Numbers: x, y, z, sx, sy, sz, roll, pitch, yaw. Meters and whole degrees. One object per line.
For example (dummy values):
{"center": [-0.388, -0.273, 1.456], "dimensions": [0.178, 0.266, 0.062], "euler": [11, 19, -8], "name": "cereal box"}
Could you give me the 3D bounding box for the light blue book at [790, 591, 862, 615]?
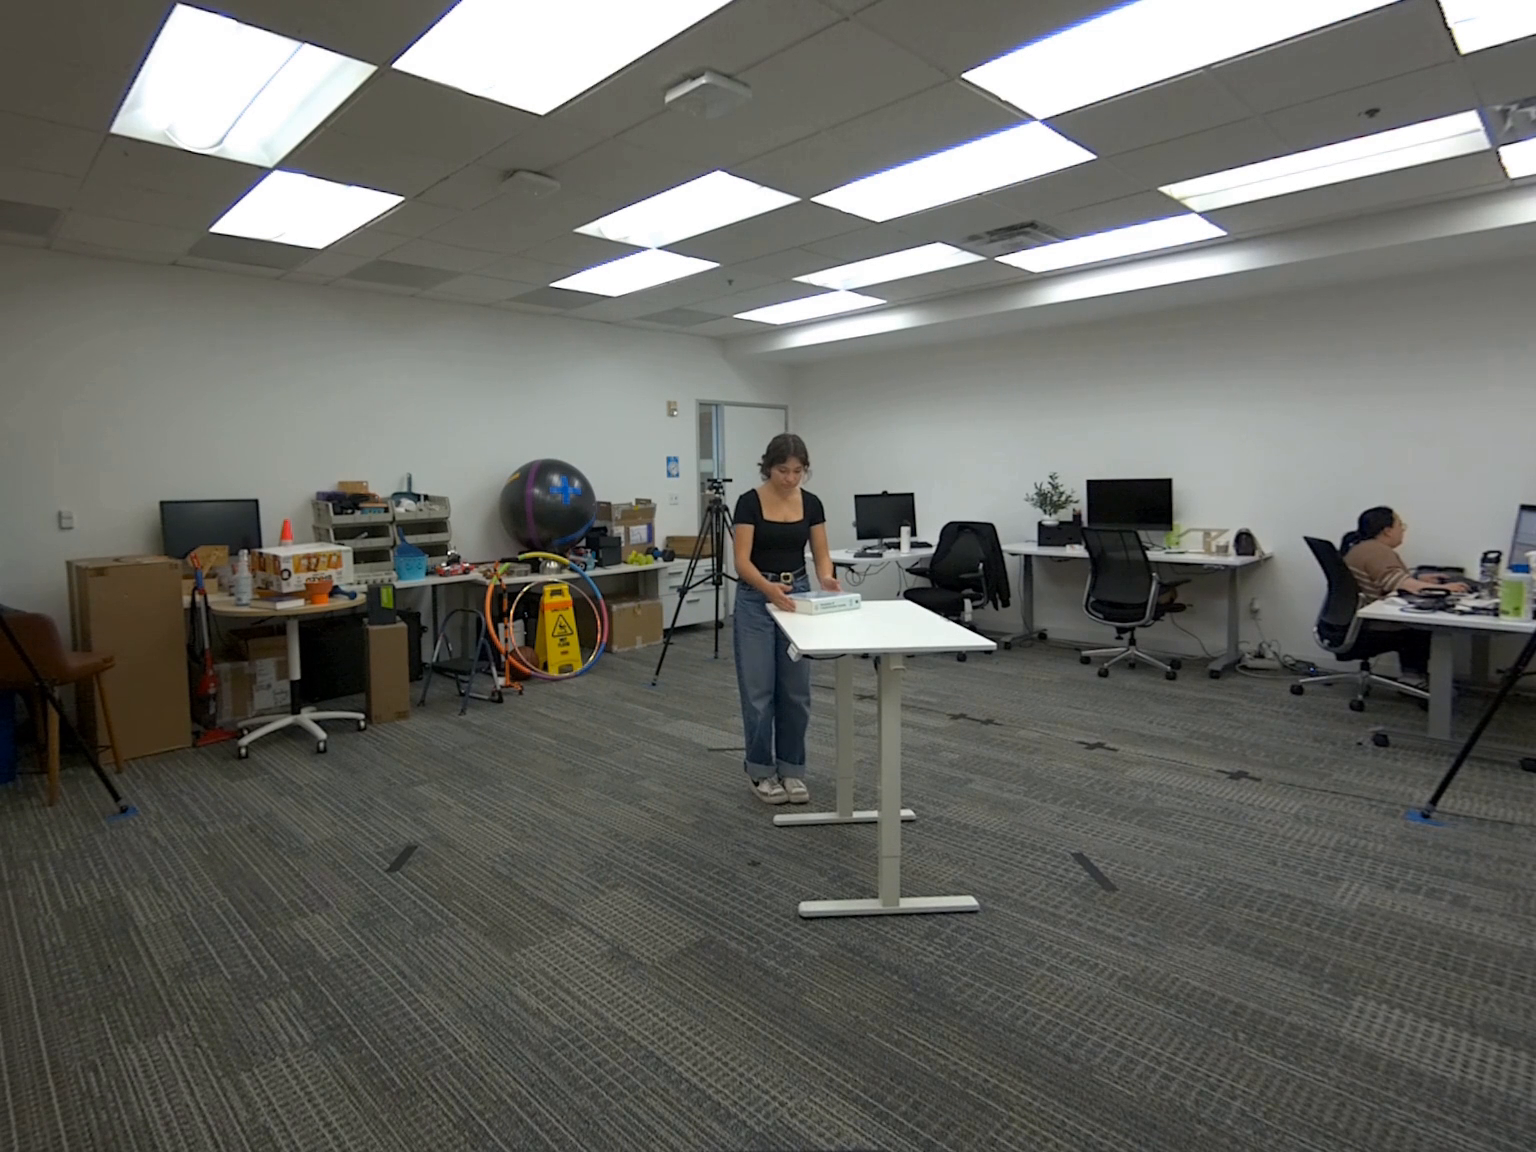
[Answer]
{"center": [0.199, 0.106, 3.366], "dimensions": [0.254, 0.059, 0.197], "euler": [-6, 7, -38], "name": "light blue book"}
